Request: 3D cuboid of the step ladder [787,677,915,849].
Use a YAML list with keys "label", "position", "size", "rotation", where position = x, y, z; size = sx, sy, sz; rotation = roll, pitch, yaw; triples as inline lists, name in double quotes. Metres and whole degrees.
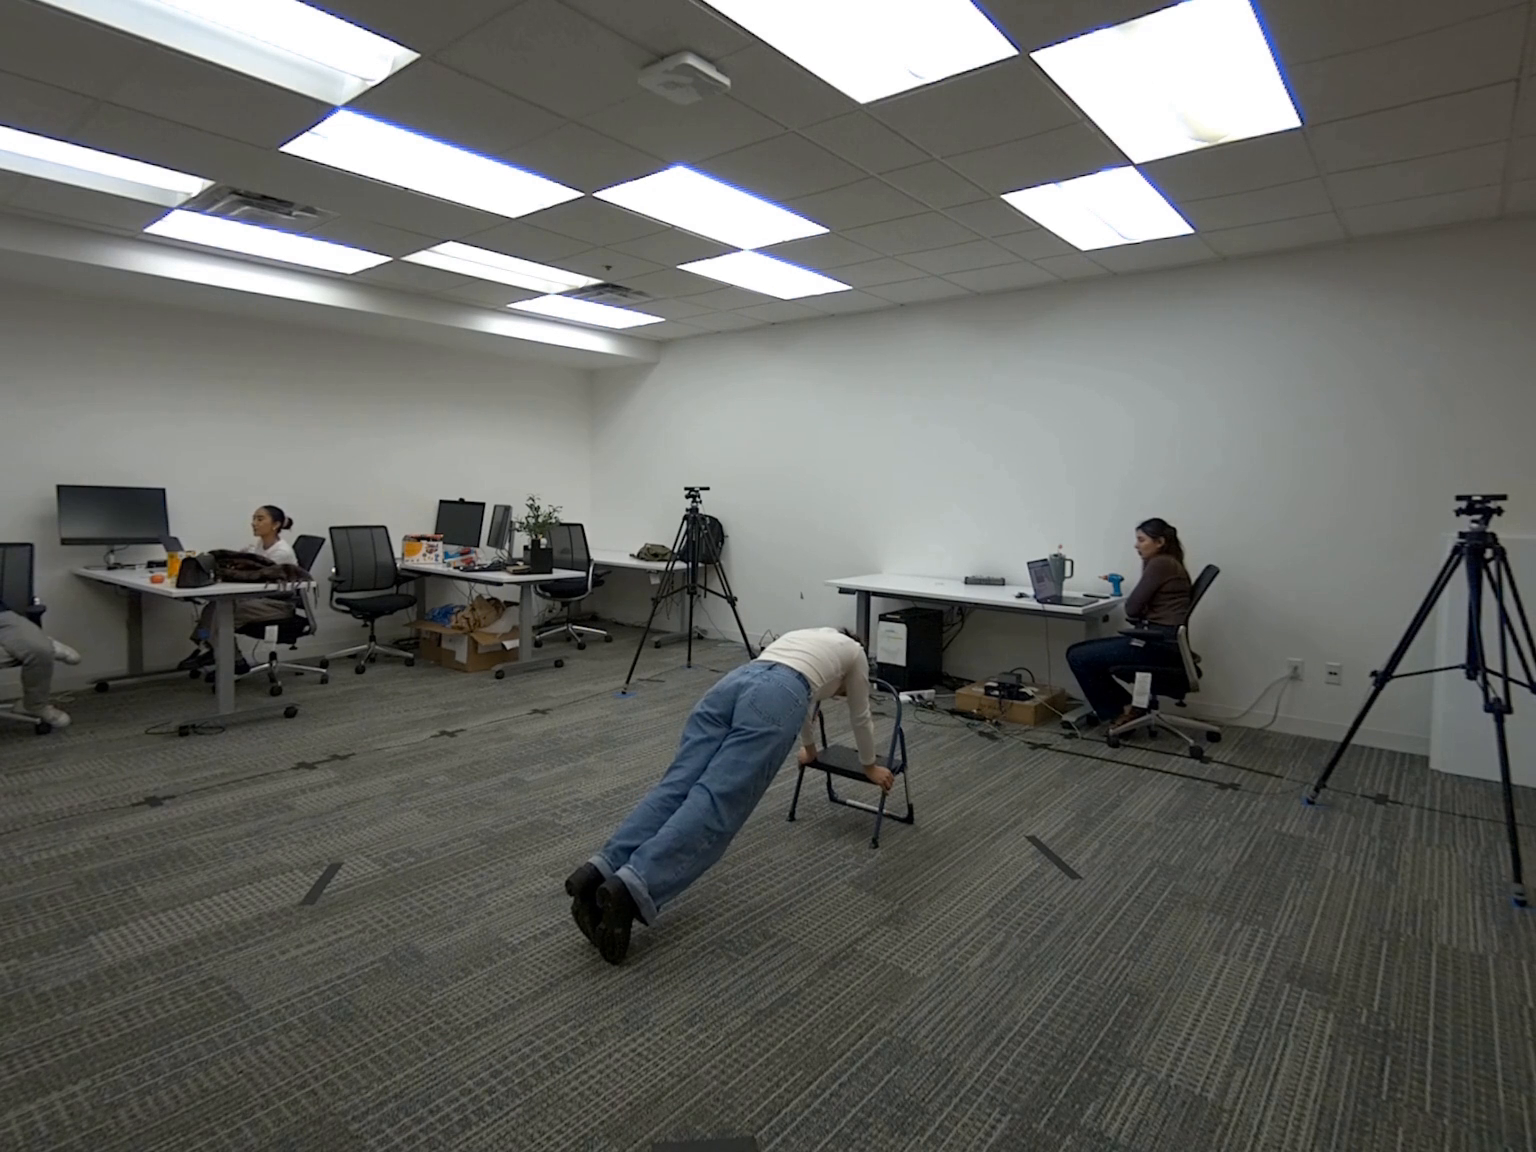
- label: "step ladder"
  position: [0.351, 0.729, 3.560]
  size: [0.445, 0.604, 0.339]
  rotation: [4, 4, 38]
